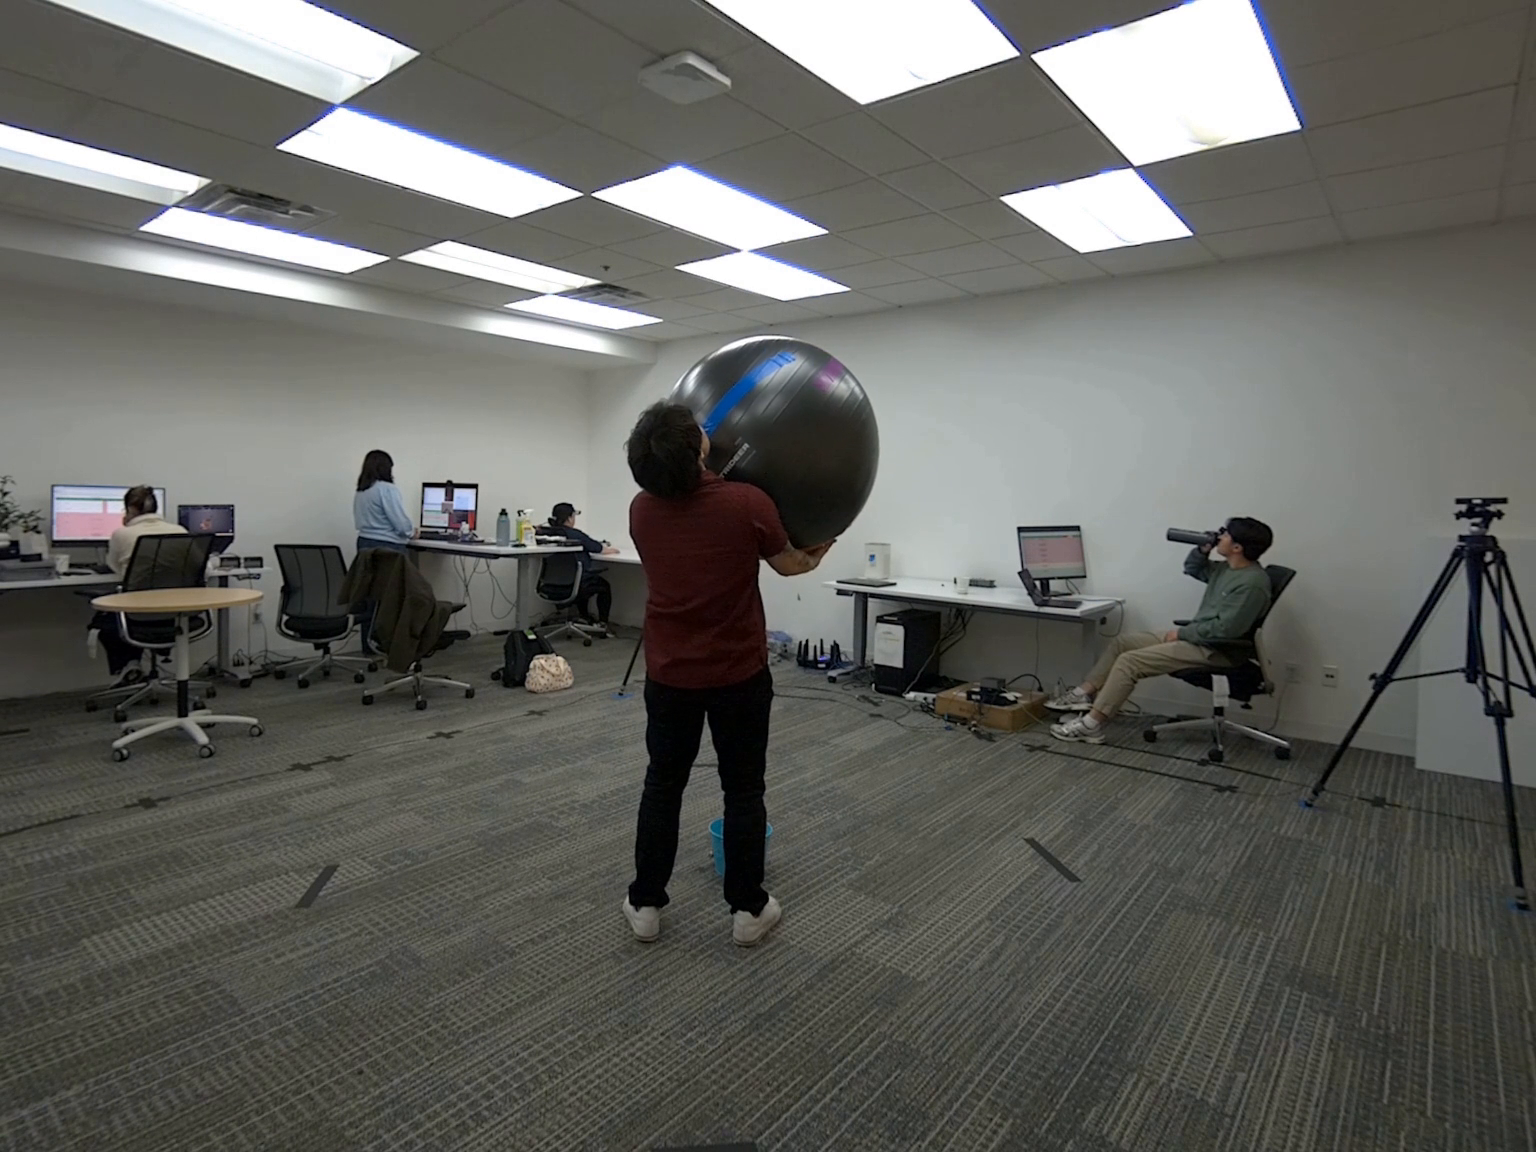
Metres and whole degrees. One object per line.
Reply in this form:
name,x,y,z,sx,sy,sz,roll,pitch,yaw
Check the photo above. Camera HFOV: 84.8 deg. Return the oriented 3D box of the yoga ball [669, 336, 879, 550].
yoga ball,-0.016,-0.426,2.910,0.757,0.756,0.762,1,4,-2
